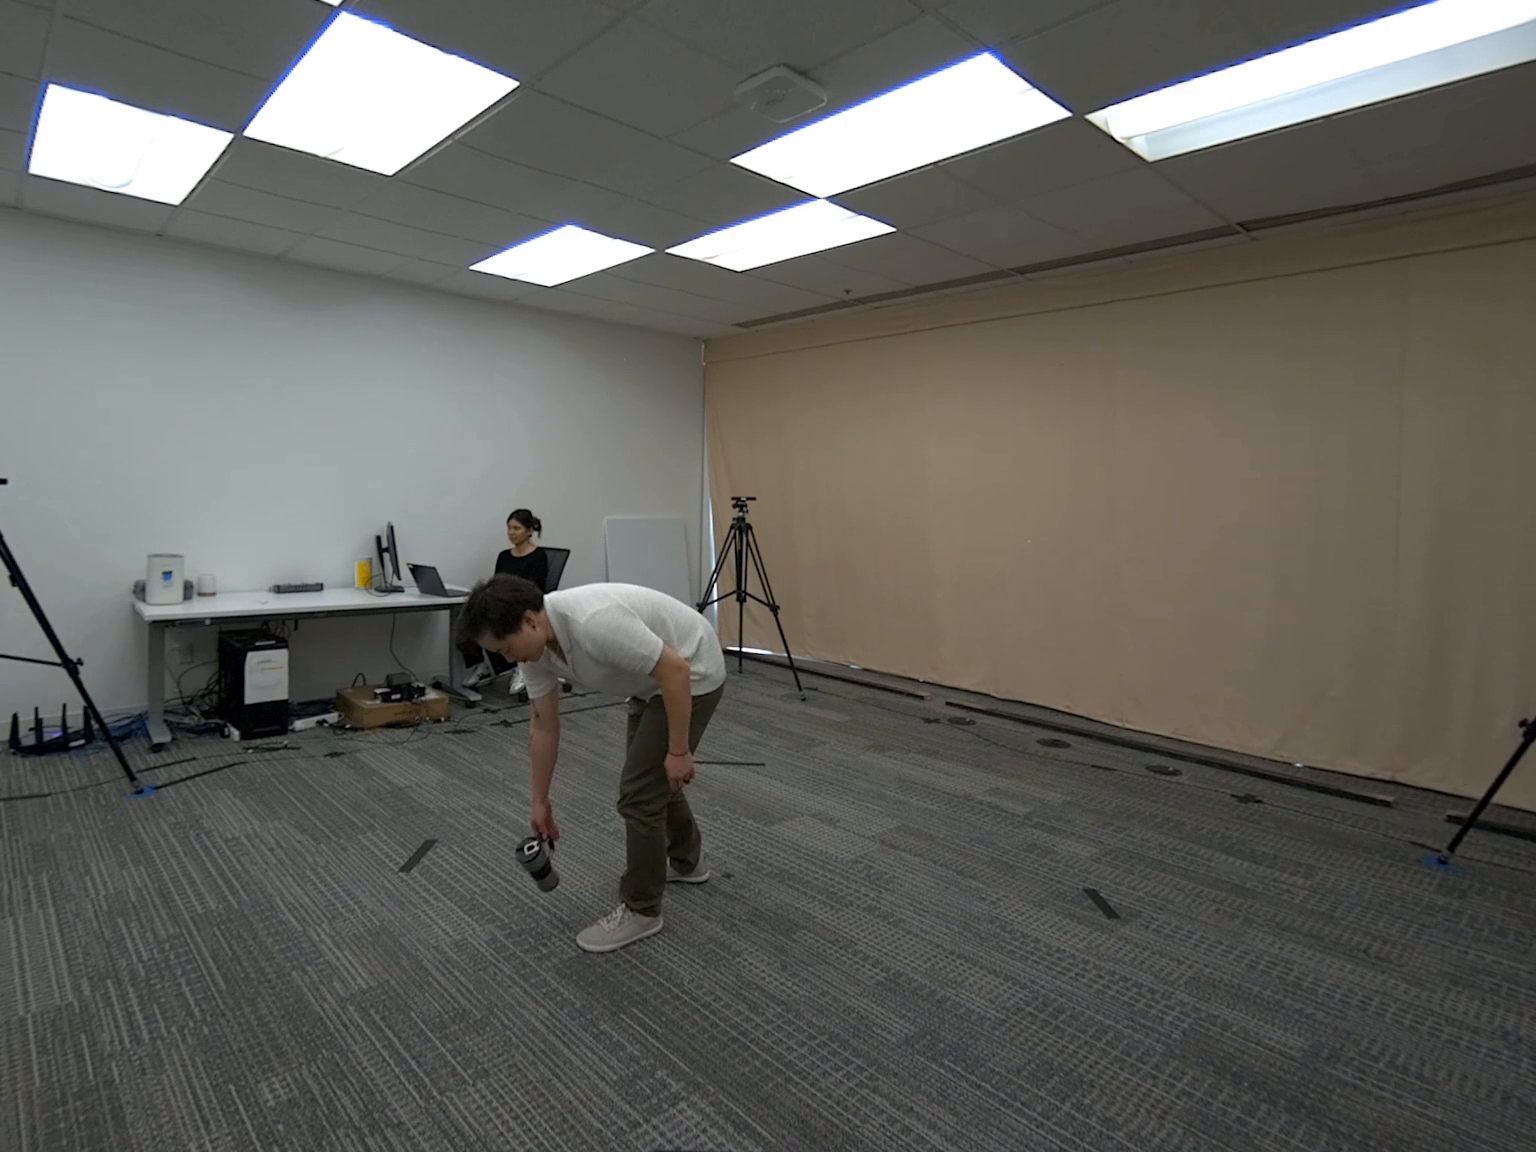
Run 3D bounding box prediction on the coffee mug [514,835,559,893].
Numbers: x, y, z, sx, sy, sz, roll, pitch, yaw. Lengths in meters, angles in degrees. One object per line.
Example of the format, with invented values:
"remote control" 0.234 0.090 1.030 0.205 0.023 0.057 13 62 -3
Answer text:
"coffee mug" -0.720 0.912 2.710 0.090 0.197 0.122 18 50 39
